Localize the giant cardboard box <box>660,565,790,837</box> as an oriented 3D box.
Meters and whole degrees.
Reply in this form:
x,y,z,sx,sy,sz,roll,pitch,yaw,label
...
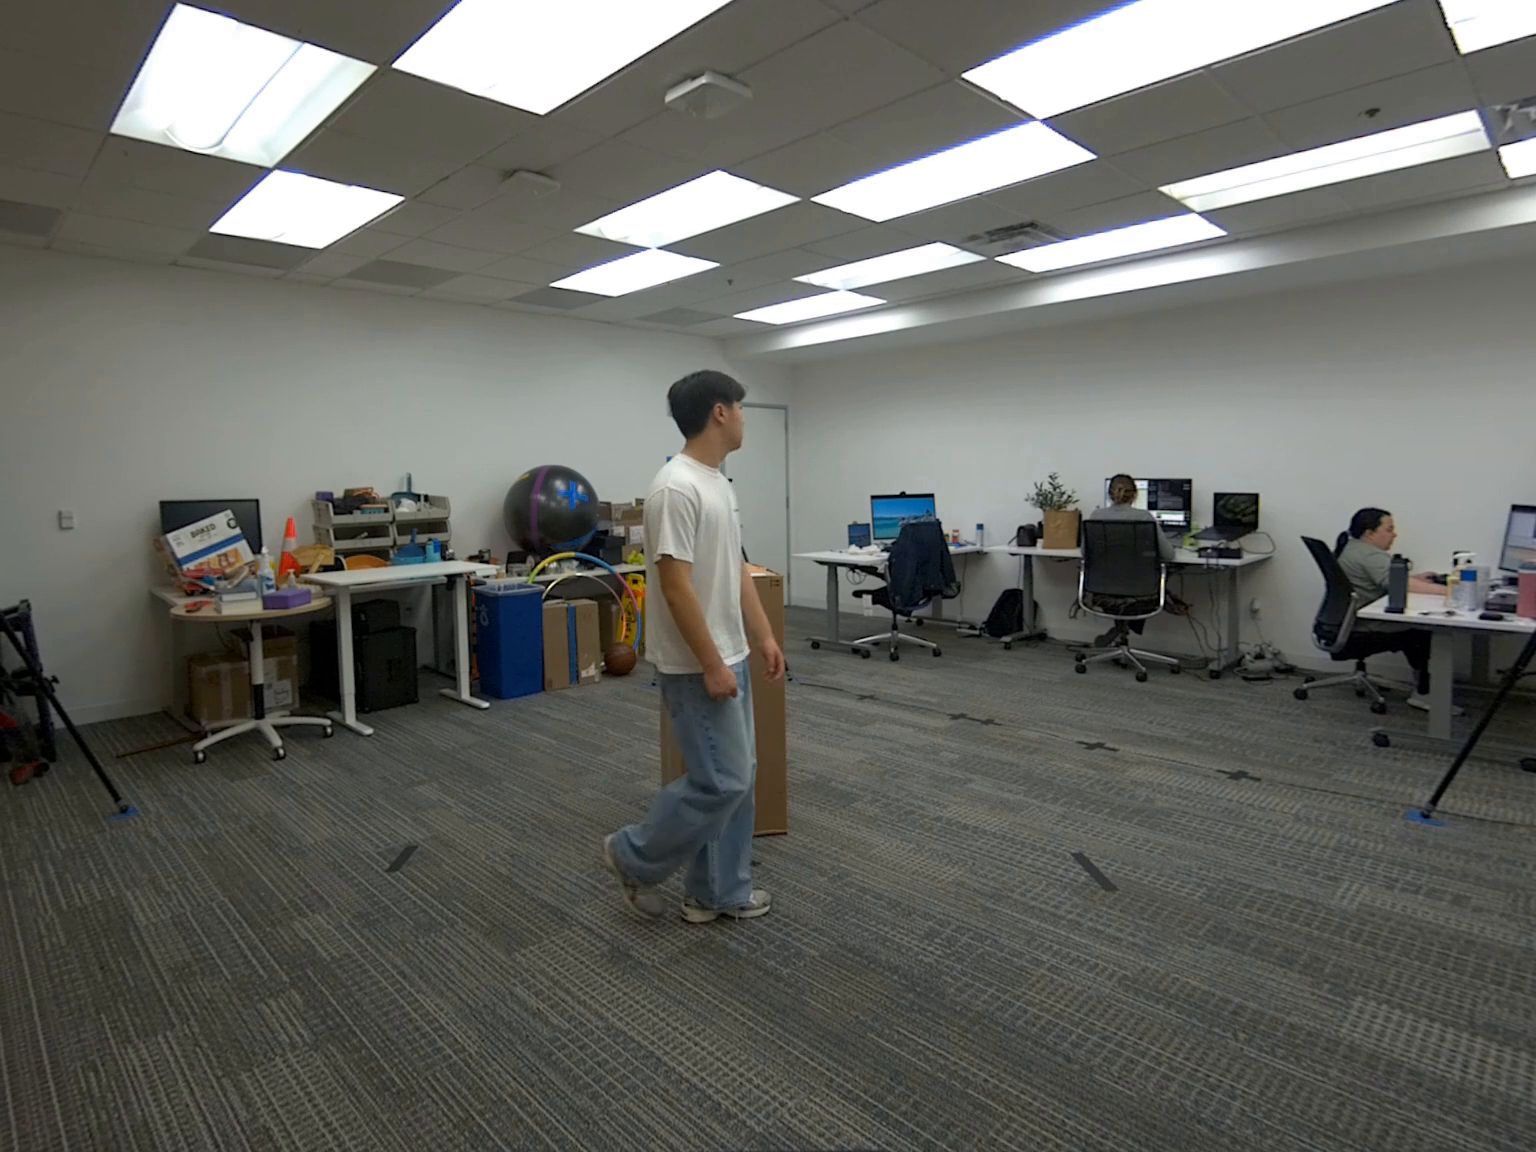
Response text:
x,y,z,sx,sy,sz,roll,pitch,yaw,label
-0.204,0.487,3.571,0.420,1.023,0.587,-2,4,-15,giant cardboard box
